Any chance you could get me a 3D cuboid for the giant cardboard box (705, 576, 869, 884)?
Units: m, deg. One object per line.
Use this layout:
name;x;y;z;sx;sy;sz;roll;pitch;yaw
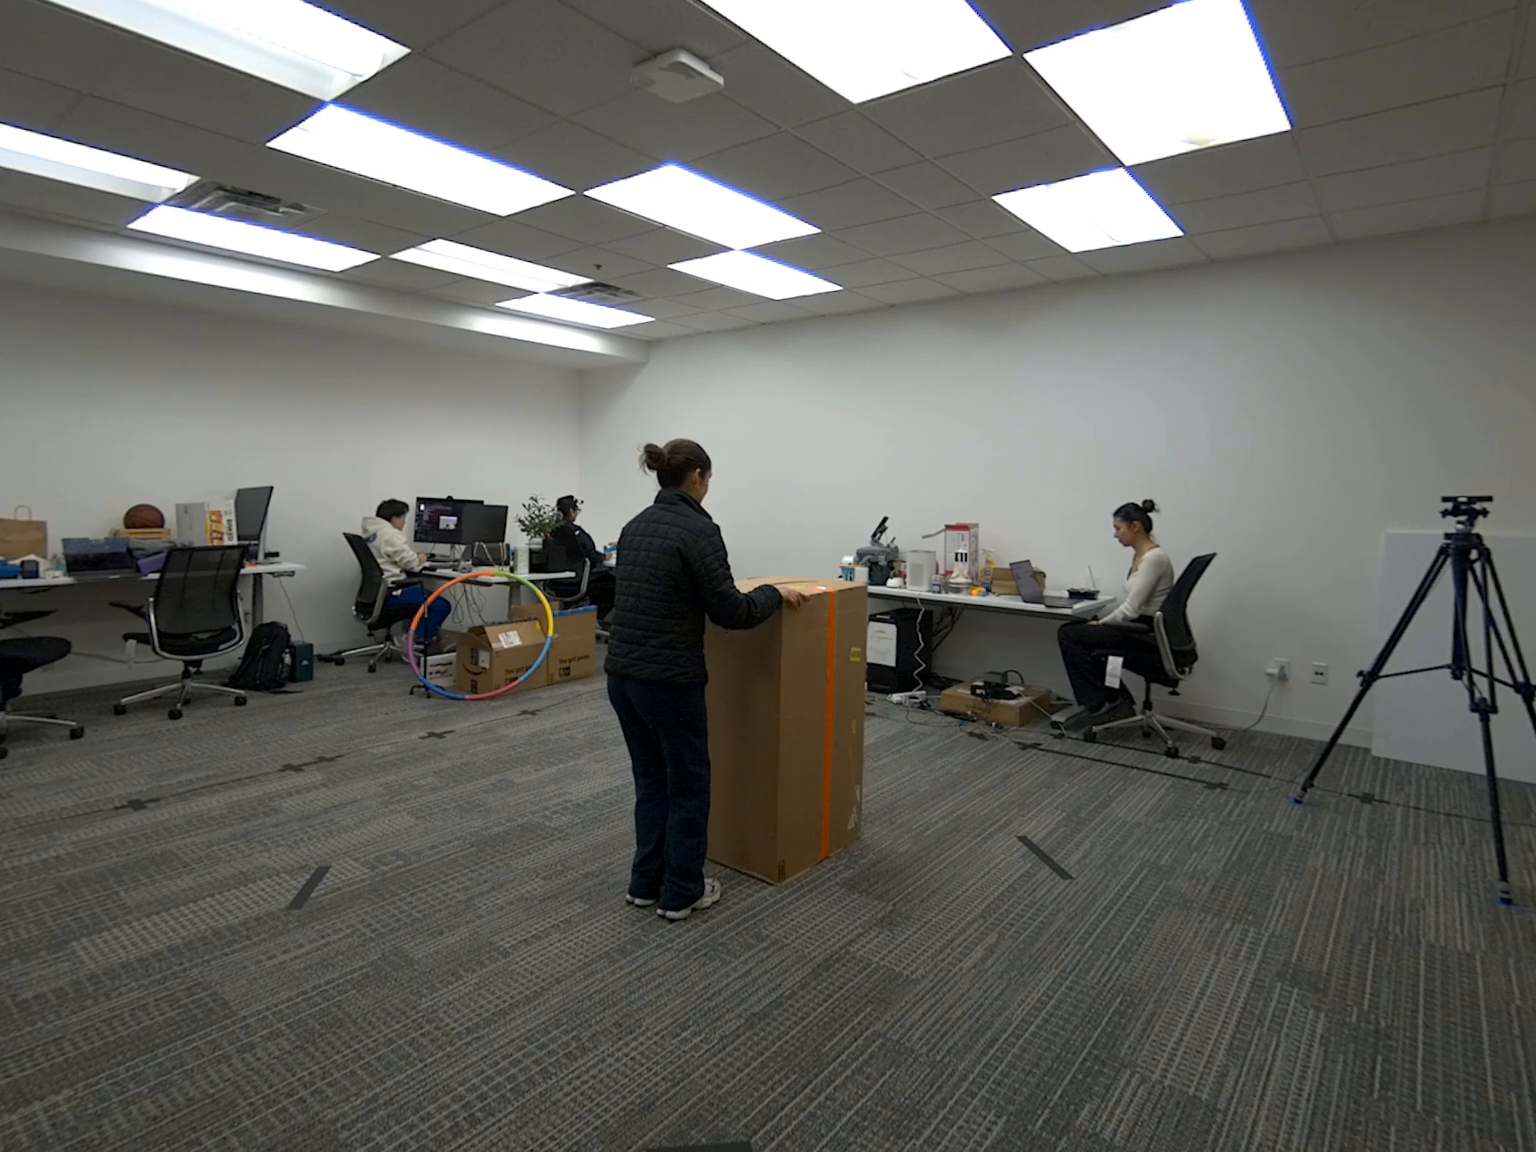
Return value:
giant cardboard box;0.066;0.540;3.304;0.462;1.022;0.567;5;6;40
